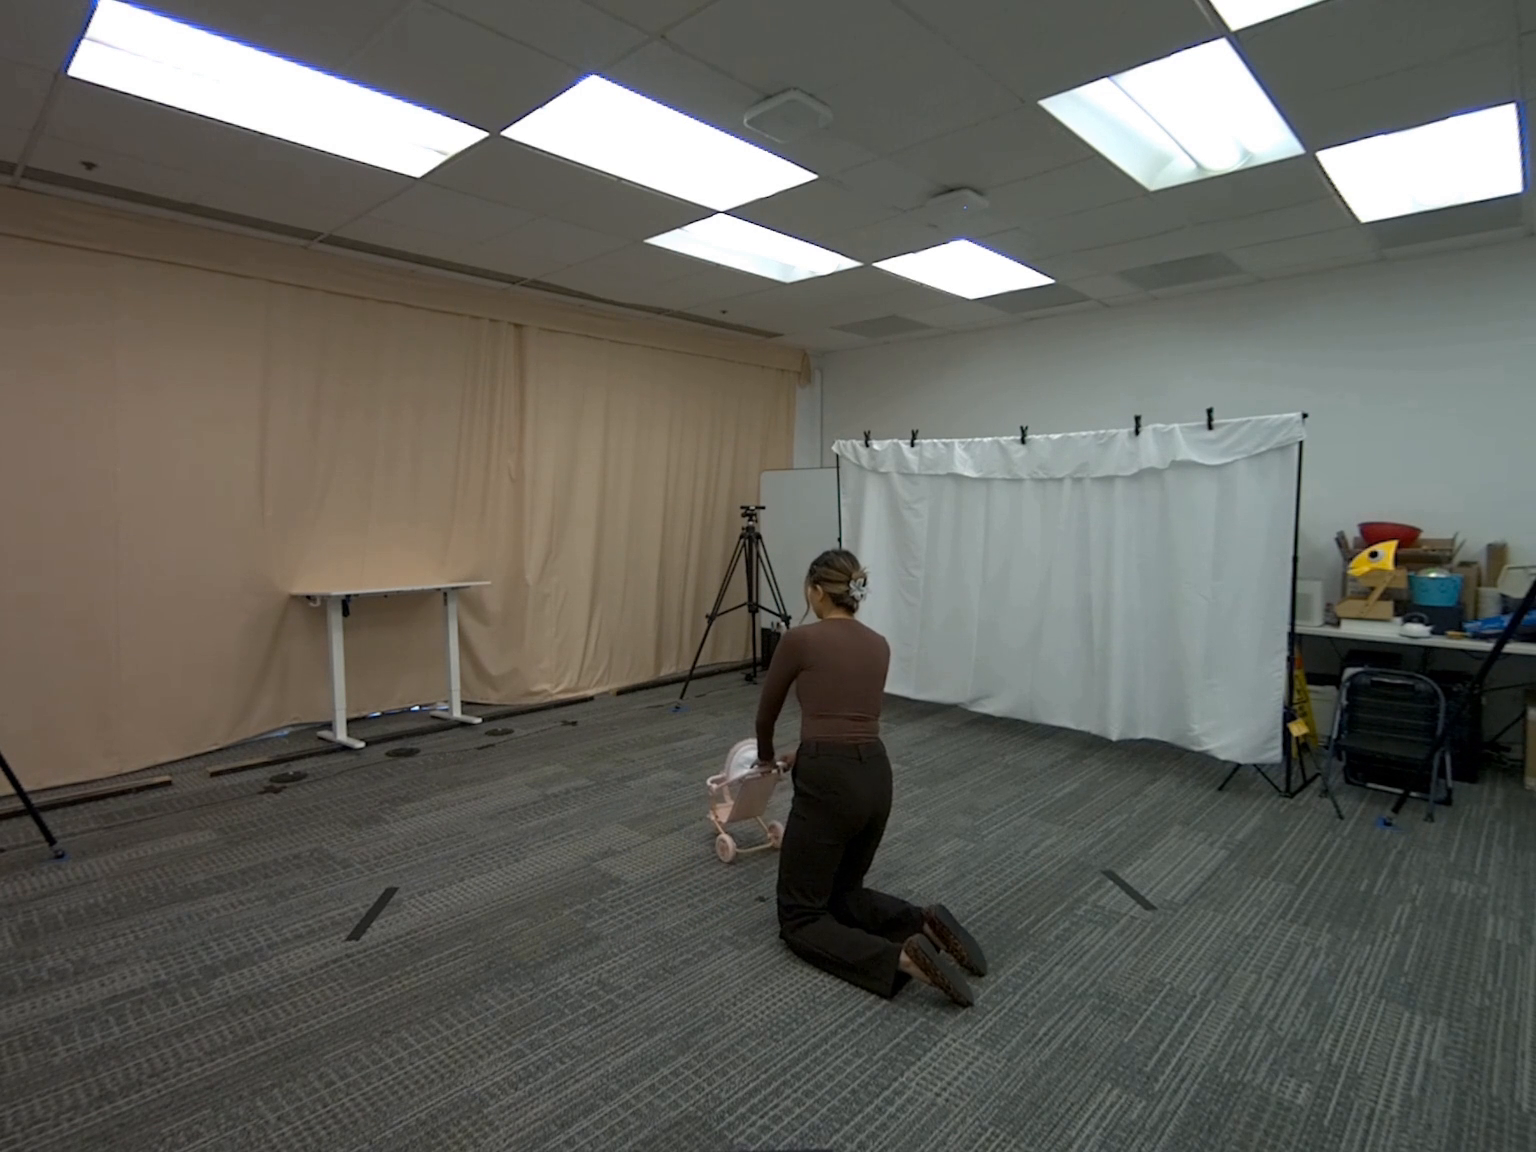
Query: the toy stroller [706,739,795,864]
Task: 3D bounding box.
[{"bbox_3d":[-0.093,0.884,3.396,0.274,0.531,0.353,-1,21,-31],"label":"toy stroller"}]
